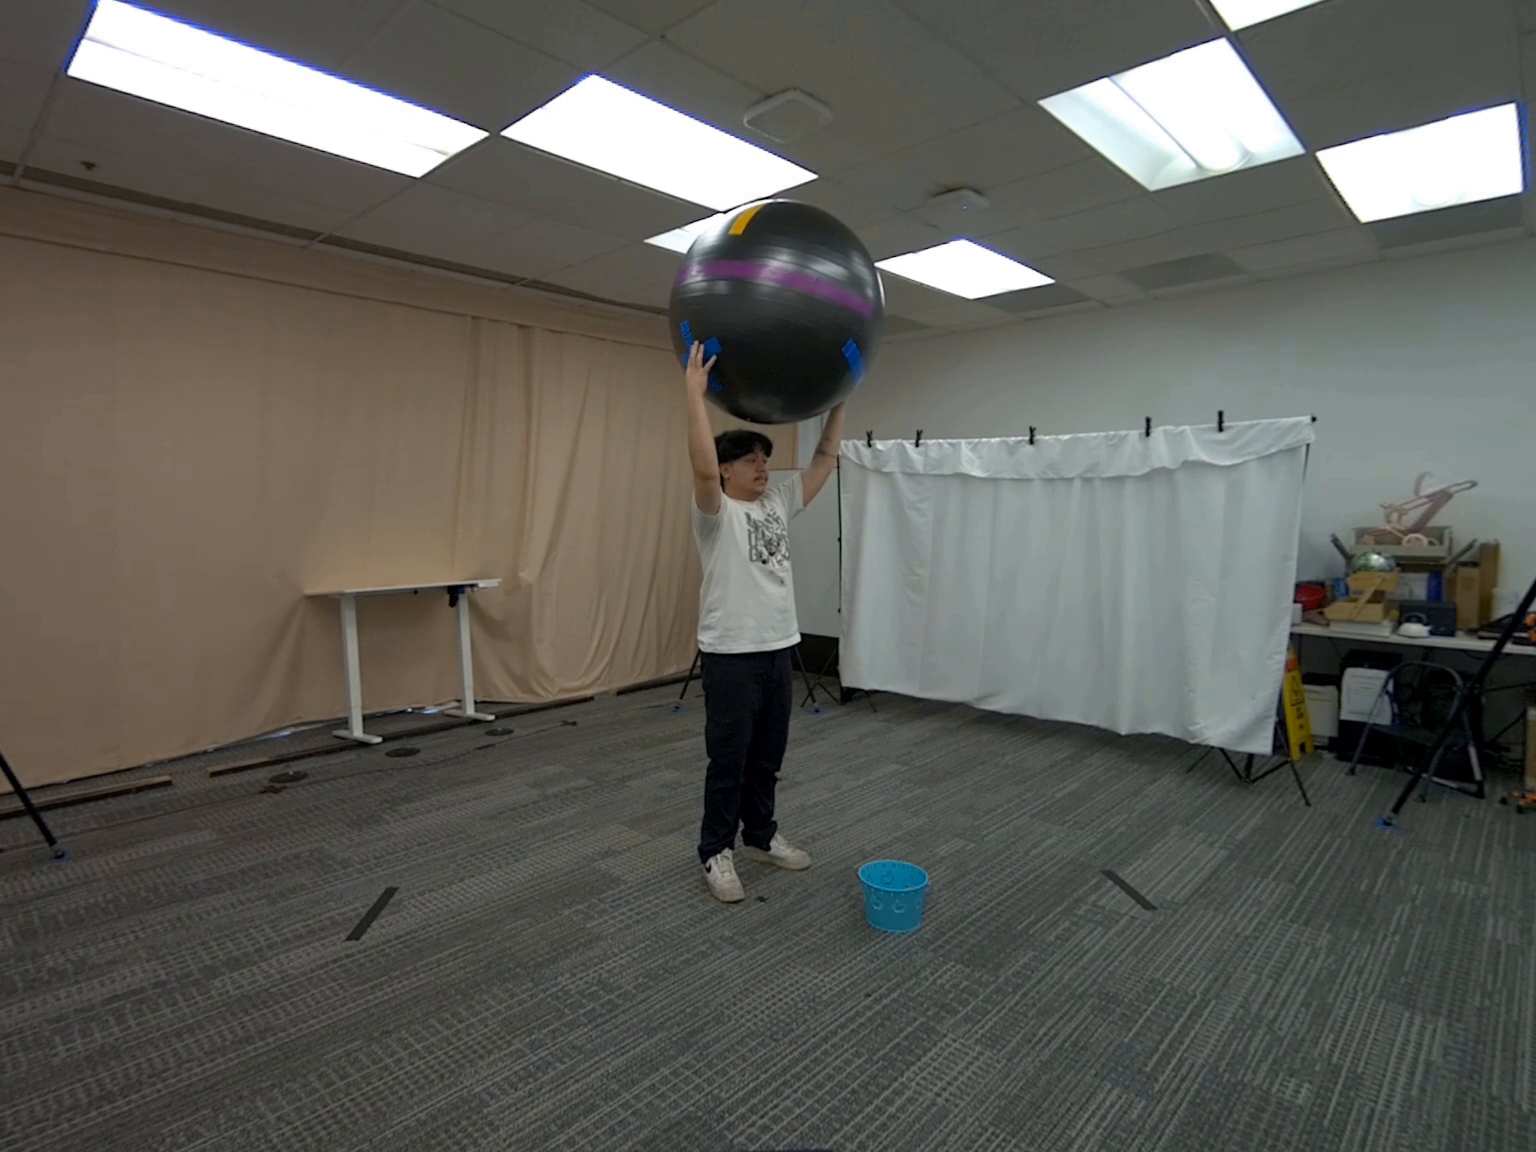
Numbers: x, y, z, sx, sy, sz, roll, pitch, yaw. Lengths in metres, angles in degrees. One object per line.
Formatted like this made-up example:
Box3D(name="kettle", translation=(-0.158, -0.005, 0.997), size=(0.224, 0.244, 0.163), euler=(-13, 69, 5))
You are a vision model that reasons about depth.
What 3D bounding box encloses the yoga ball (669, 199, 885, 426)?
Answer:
Box3D(name="yoga ball", translation=(0.028, -0.914, 2.977), size=(0.757, 0.756, 0.760), euler=(0, 4, -2))
